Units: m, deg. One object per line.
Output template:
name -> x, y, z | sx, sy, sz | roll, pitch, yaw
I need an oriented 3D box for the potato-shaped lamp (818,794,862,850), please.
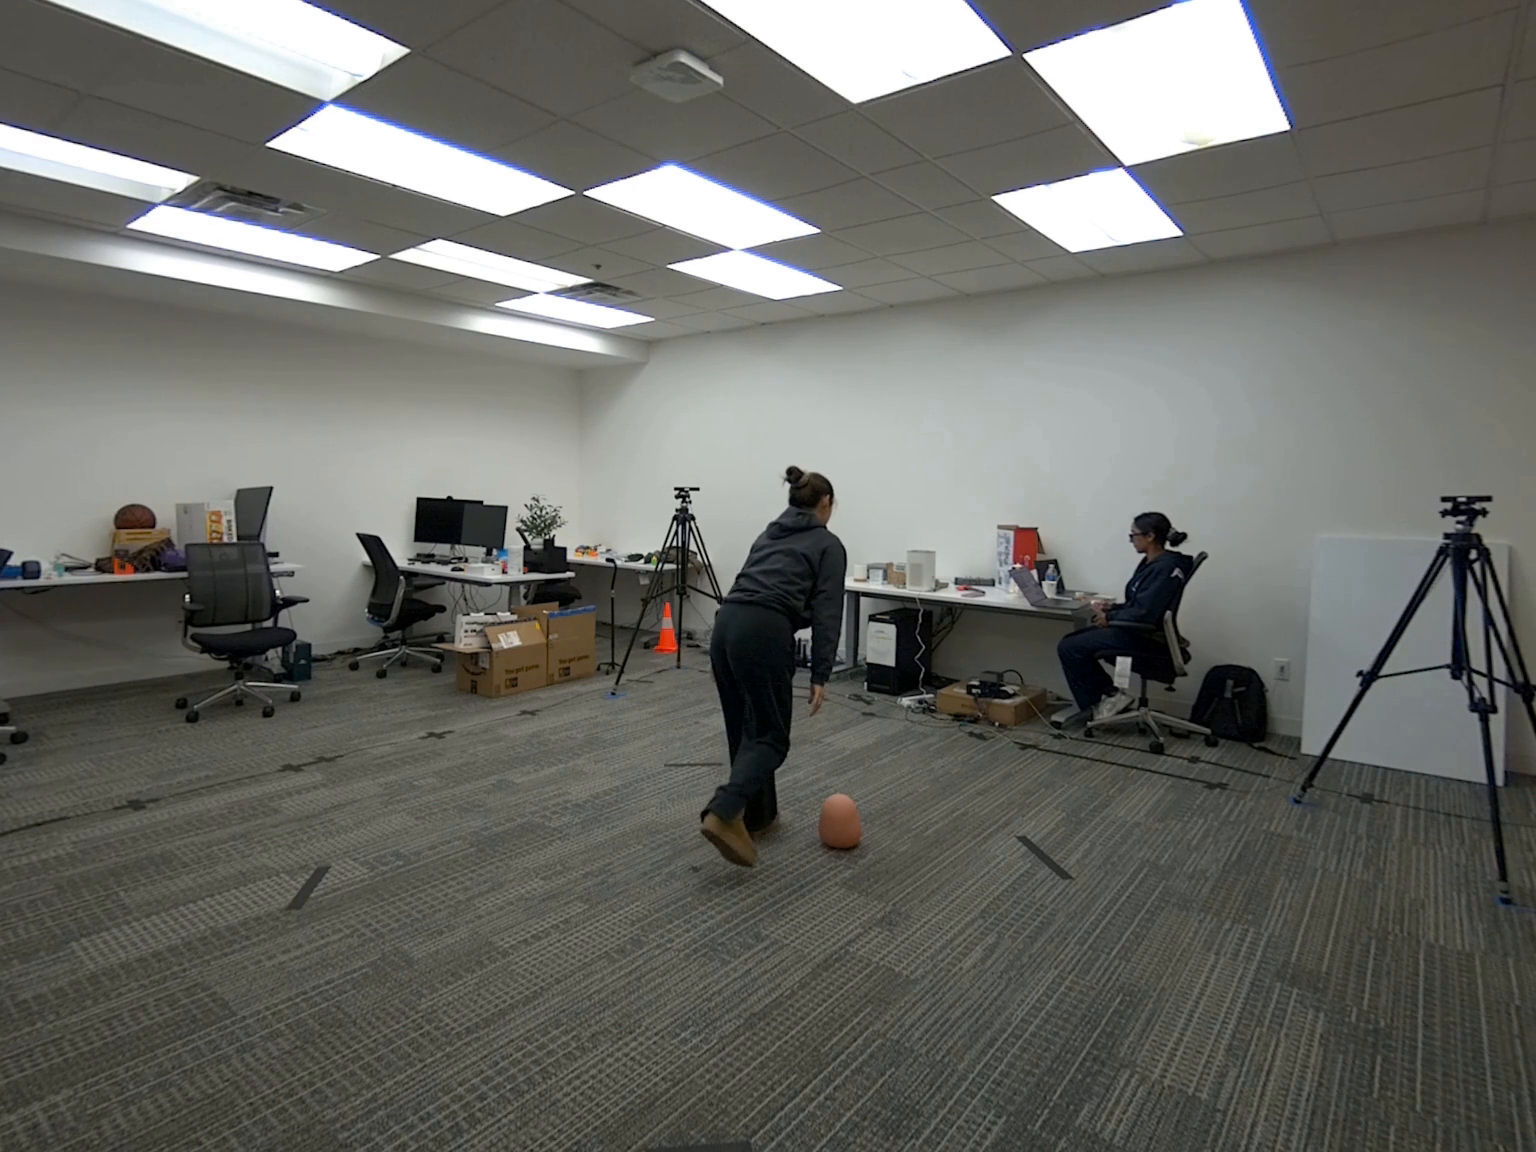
potato-shaped lamp -> 0.280, 0.951, 3.349 | 0.169, 0.198, 0.167 | 0, 2, 29
